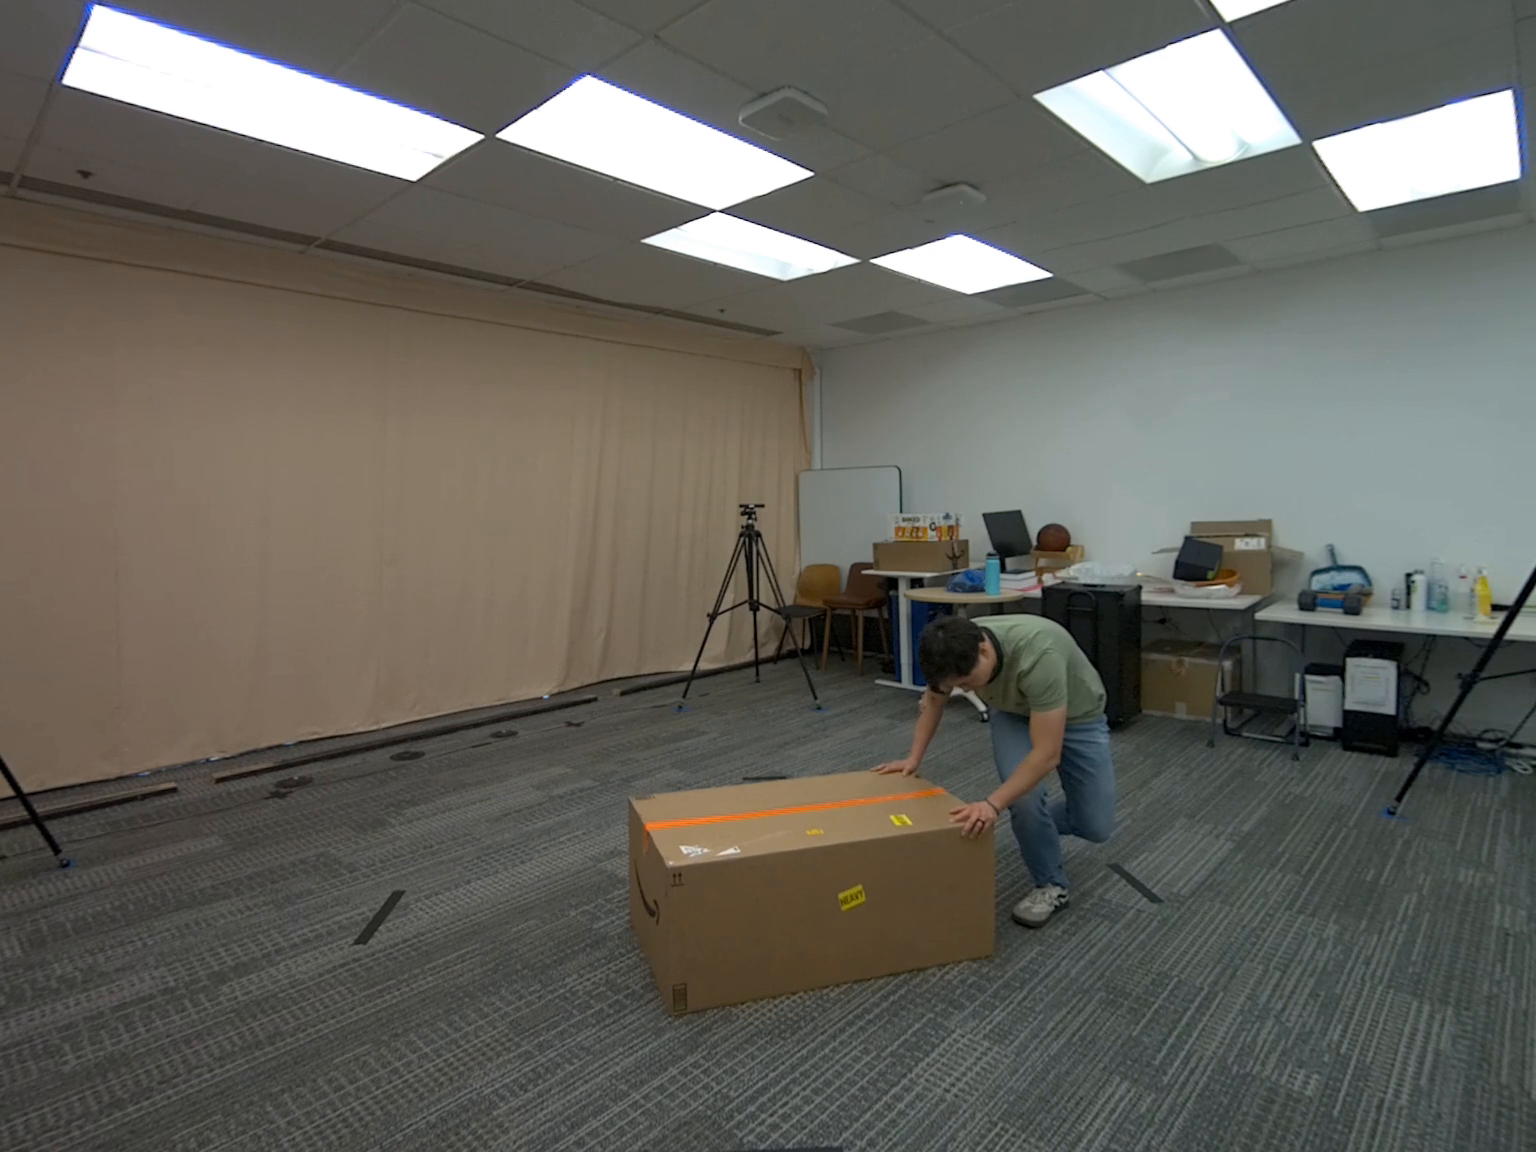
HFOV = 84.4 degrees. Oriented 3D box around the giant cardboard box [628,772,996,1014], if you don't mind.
[{"bbox_3d":[0.113,0.951,2.693,1.008,0.425,0.589,-2,5,-17],"label":"giant cardboard box"}]
